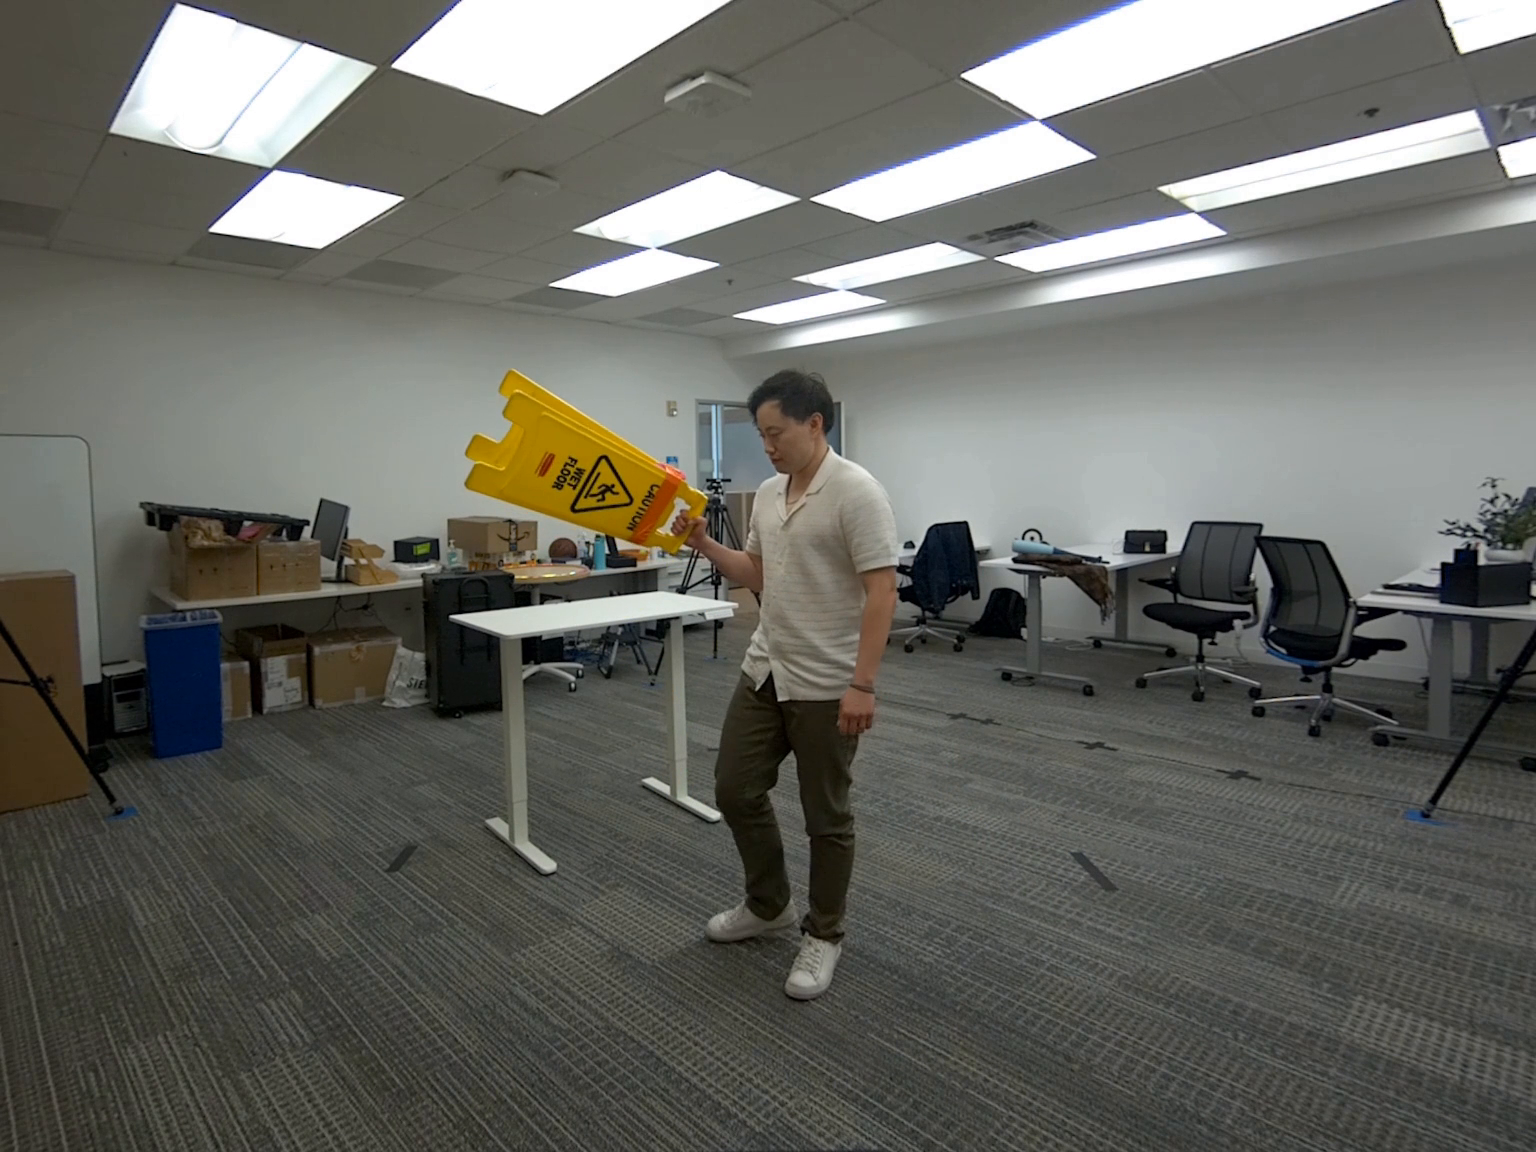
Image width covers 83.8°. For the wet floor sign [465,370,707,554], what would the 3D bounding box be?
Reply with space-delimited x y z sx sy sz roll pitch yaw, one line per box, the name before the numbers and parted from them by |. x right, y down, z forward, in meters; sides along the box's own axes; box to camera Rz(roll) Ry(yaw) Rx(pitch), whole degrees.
wet floor sign | -0.477 -0.270 2.353 0.628 0.281 0.299 27 12 -25
